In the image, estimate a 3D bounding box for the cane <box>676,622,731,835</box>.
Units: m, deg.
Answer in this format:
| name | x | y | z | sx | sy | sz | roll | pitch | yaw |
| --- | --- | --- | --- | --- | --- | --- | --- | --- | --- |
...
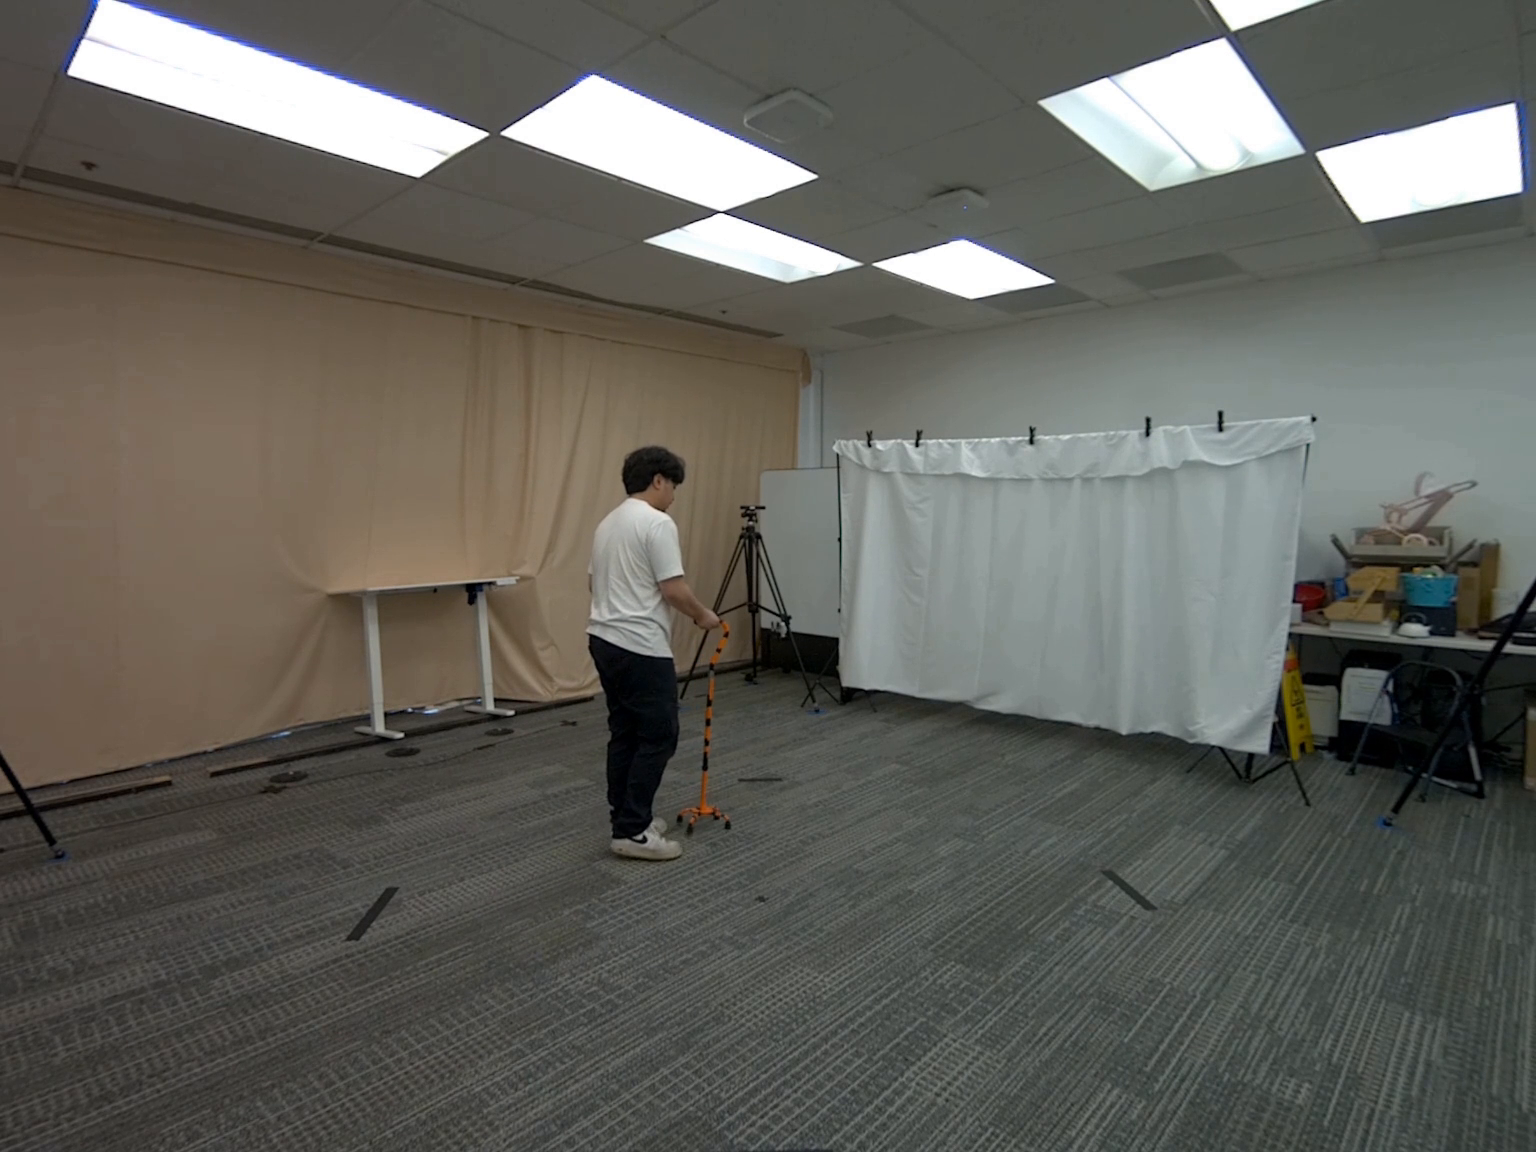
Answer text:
| name | x | y | z | sx | sy | sz | roll | pitch | yaw |
| --- | --- | --- | --- | --- | --- | --- | --- | --- | --- |
| cane | -0.240 | 0.629 | 3.632 | 0.201 | 0.906 | 0.156 | 3 | 4 | -26 |
